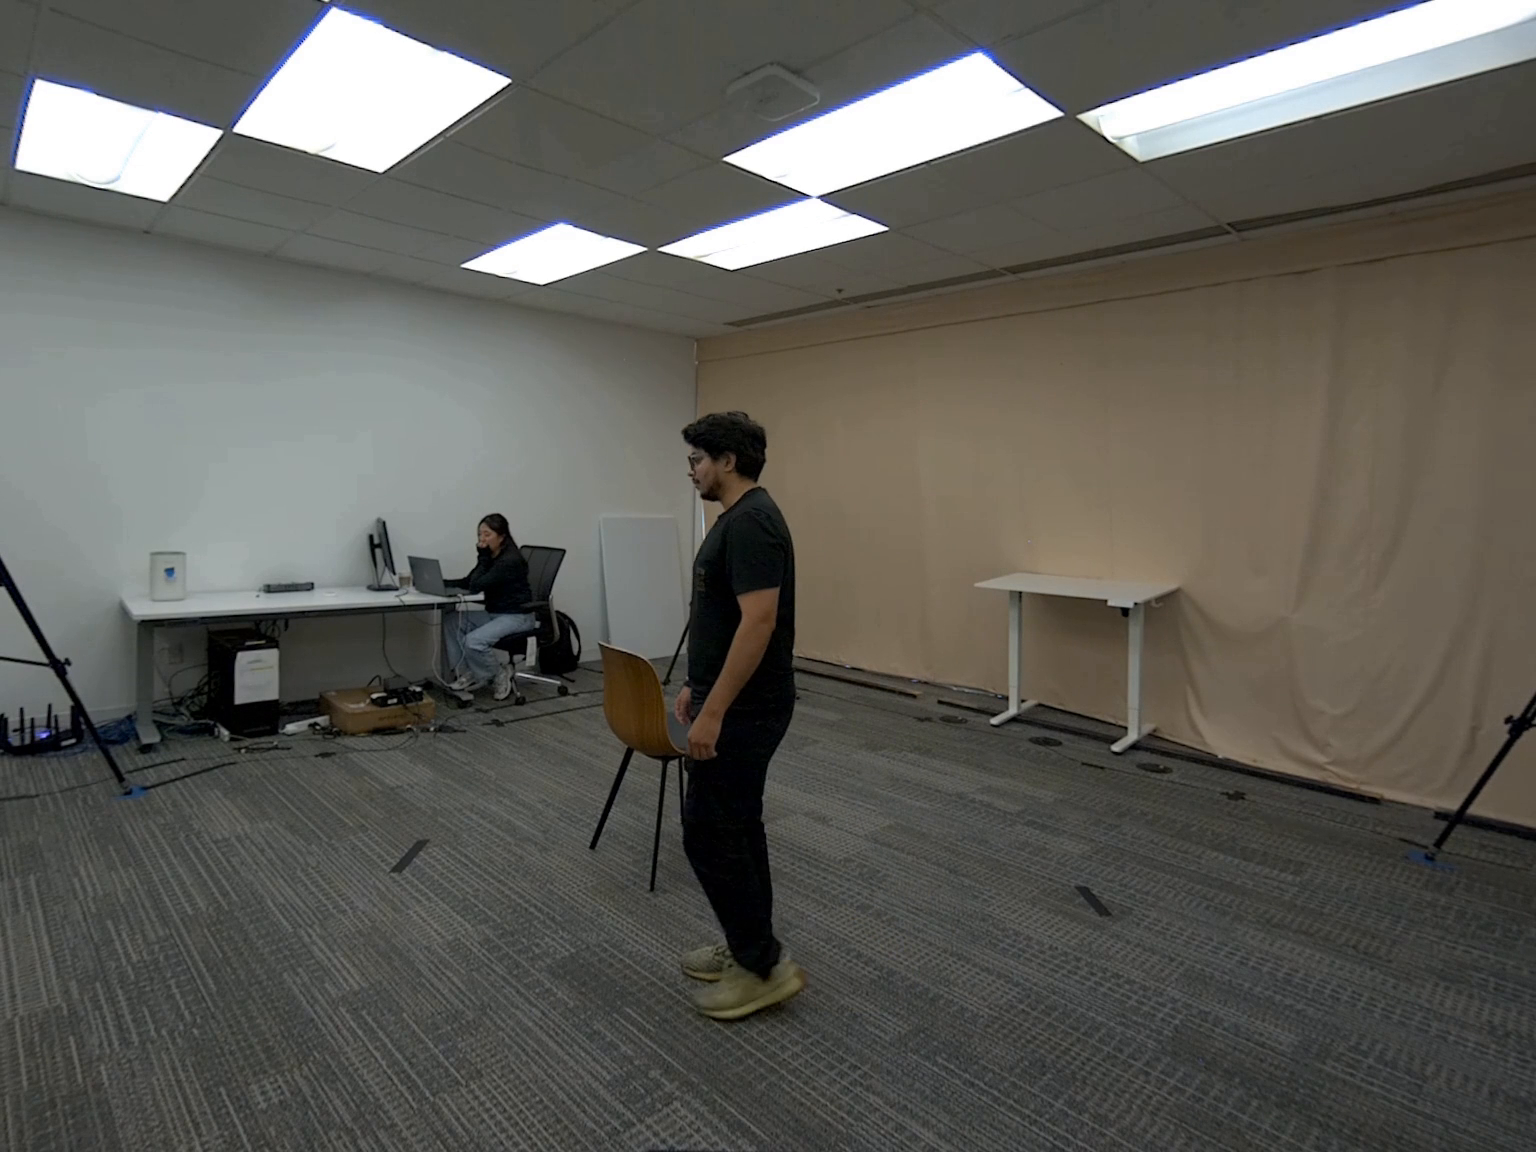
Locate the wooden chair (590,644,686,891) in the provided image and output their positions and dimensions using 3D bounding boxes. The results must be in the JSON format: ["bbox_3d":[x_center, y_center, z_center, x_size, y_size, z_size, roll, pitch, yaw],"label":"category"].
[{"bbox_3d":[-0.375,0.661,3.245,0.512,0.873,0.490,-7,8,-39],"label":"wooden chair"}]
